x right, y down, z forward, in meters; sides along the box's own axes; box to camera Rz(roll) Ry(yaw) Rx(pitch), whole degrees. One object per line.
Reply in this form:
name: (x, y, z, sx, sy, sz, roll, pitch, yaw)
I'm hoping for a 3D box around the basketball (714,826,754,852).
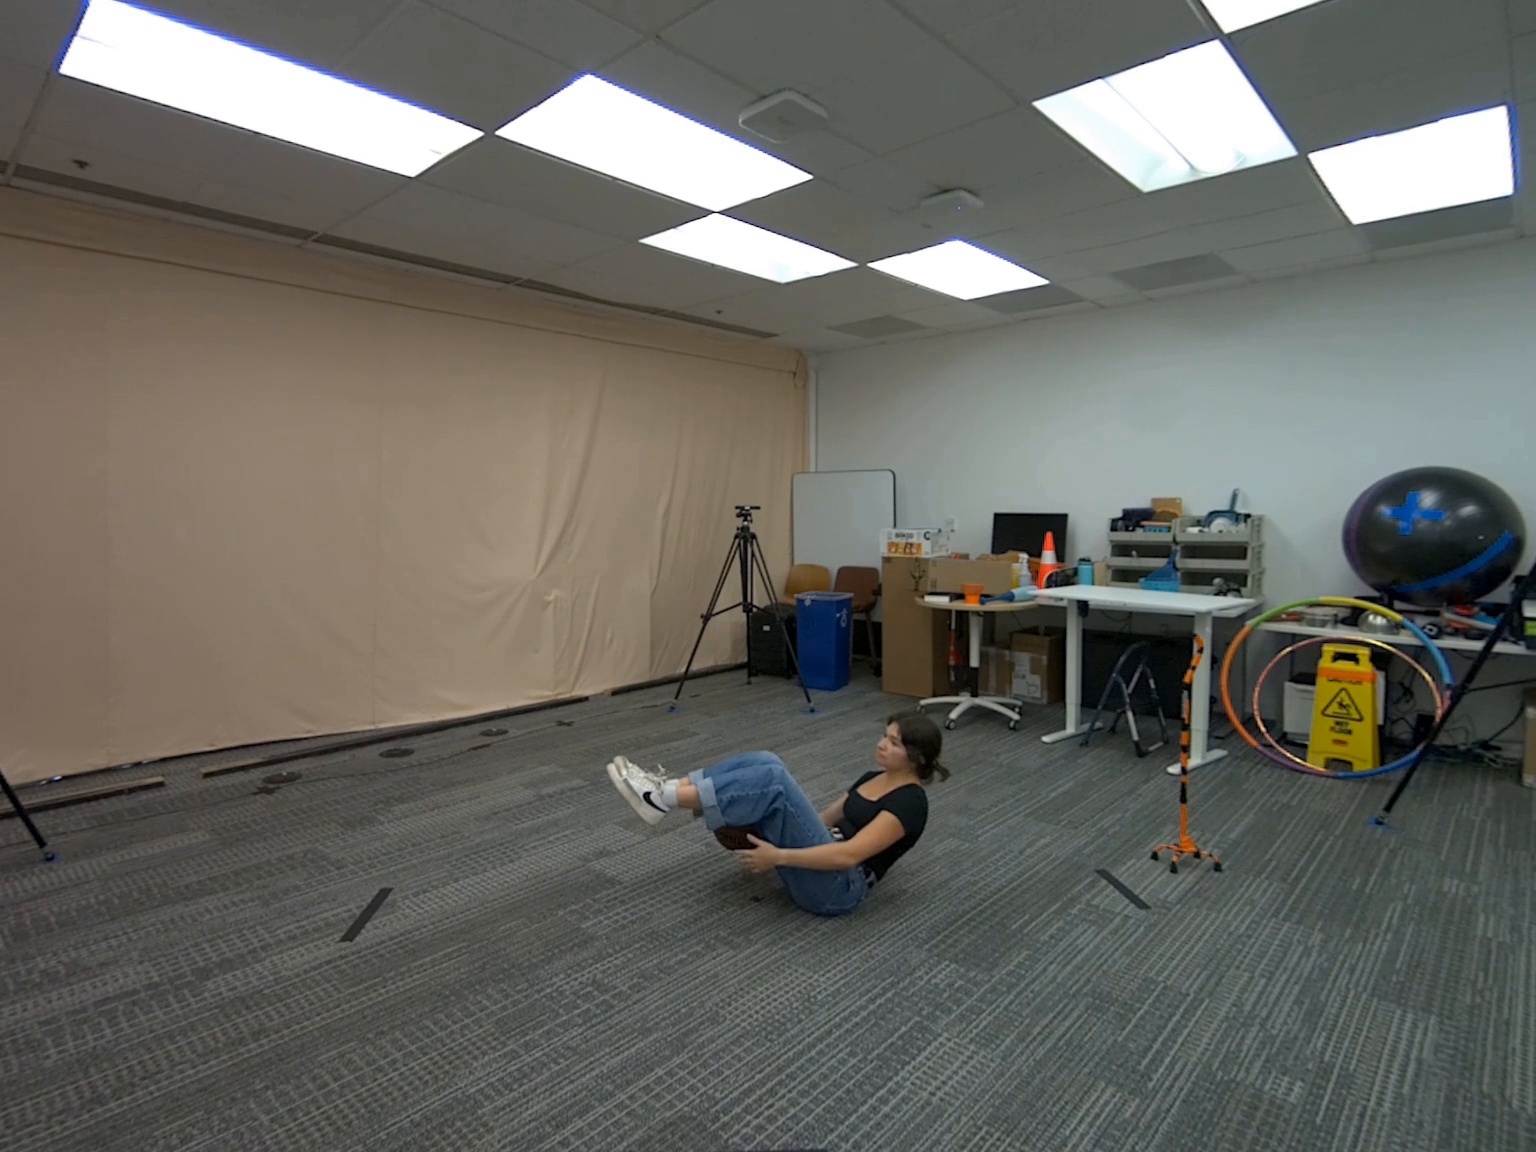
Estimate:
basketball: (-0.085, 0.893, 3.131, 0.236, 0.235, 0.237, 0, 4, -2)
